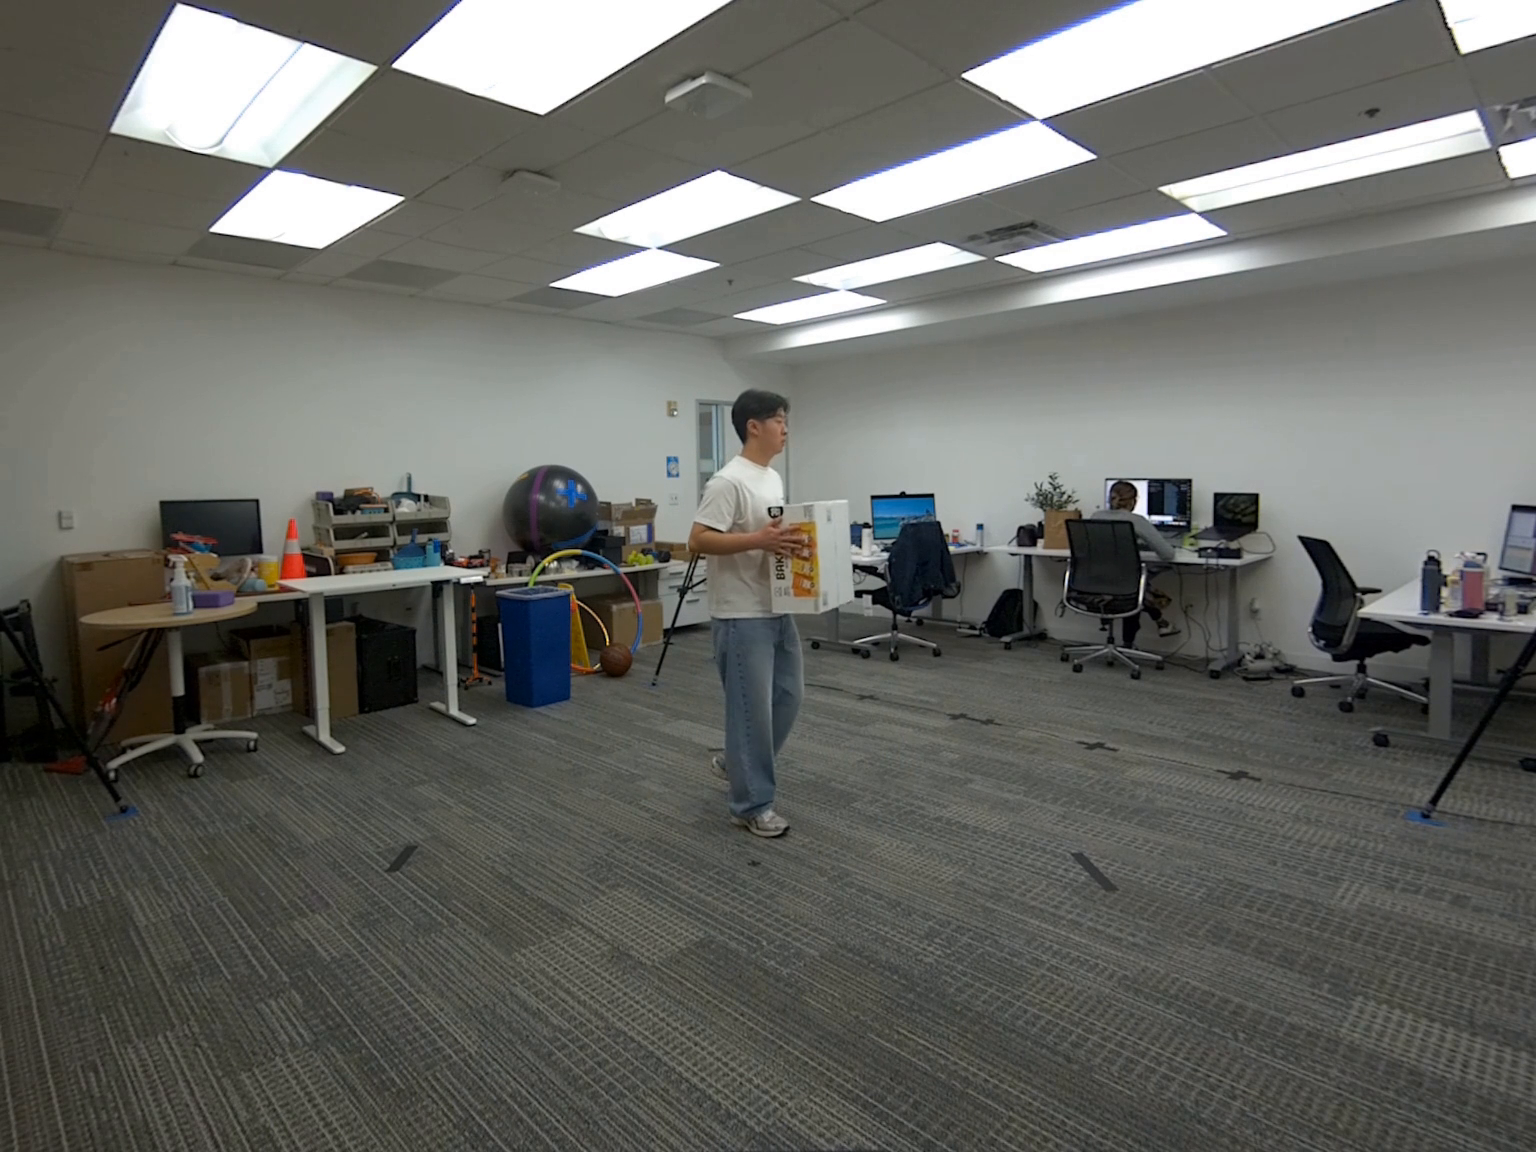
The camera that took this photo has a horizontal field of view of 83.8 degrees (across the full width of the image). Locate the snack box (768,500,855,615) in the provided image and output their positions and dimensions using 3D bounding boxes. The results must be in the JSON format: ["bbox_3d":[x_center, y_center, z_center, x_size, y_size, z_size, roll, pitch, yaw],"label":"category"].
[{"bbox_3d":[0.171,-0.076,3.328,0.211,0.404,0.333,-1,4,28],"label":"snack box"}]
